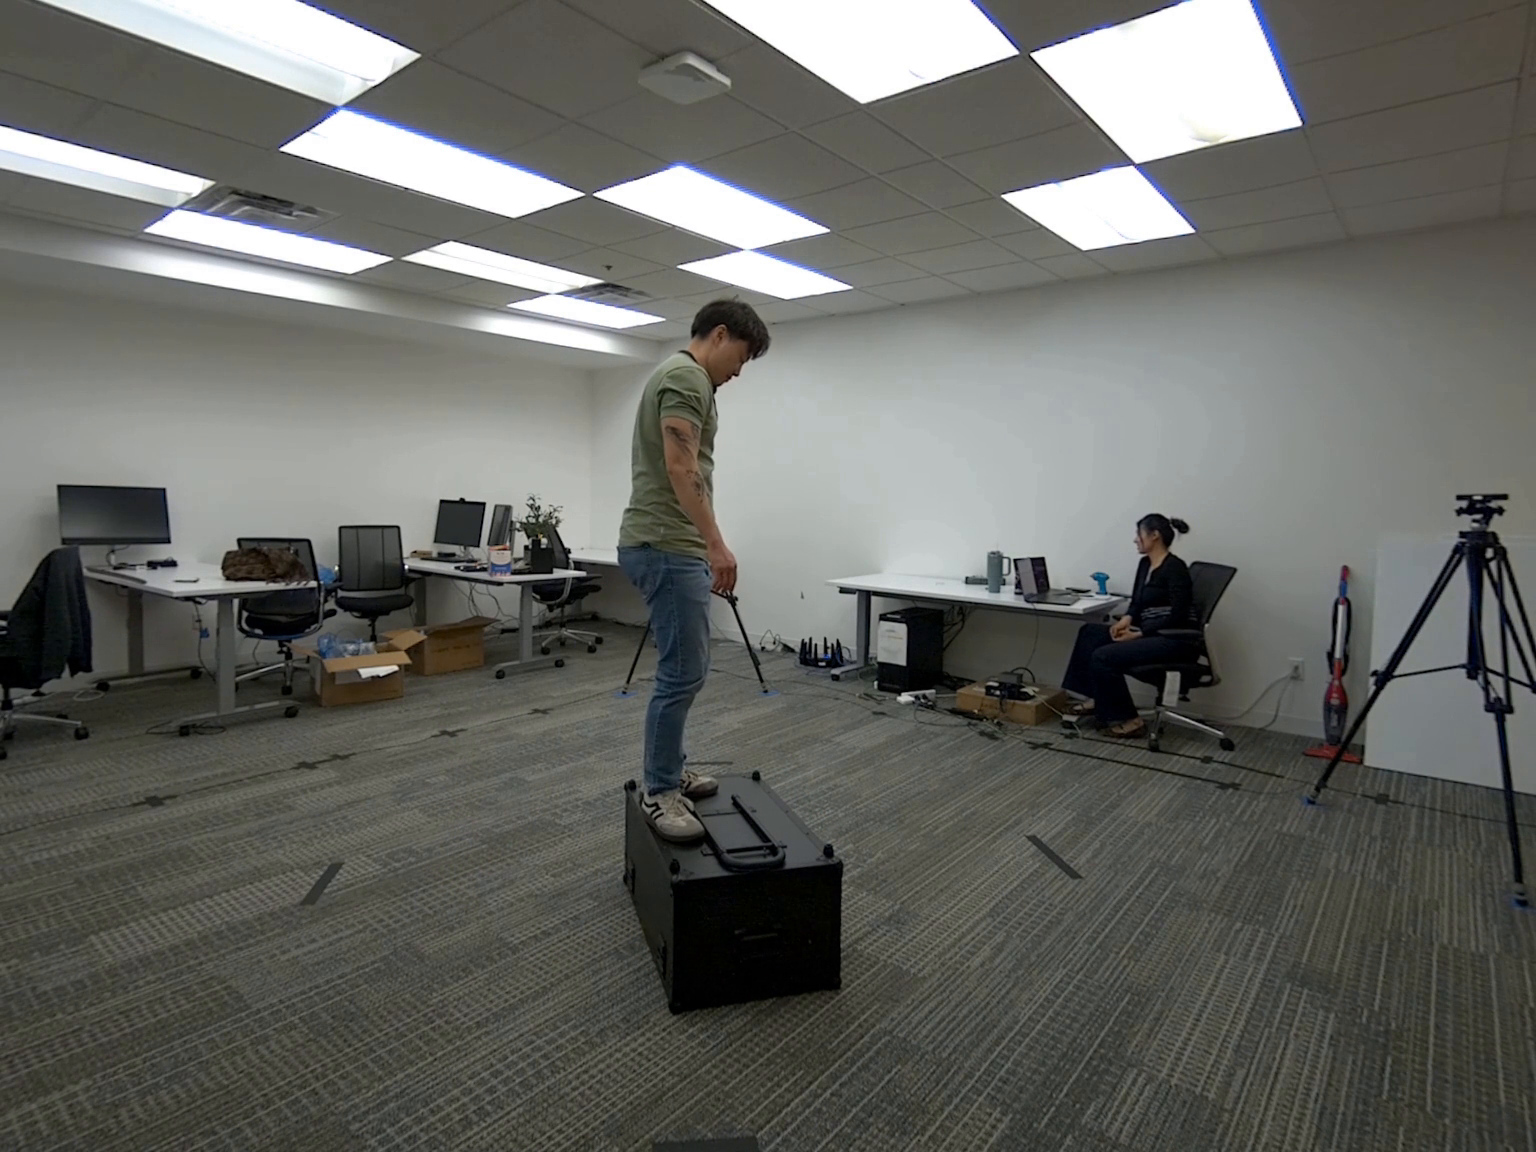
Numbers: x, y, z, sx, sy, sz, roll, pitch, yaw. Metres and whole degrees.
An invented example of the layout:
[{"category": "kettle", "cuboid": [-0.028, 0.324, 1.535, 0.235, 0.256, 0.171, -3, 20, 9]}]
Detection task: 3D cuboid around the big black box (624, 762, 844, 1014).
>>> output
[{"category": "big black box", "cuboid": [-0.171, 0.914, 2.695, 0.512, 0.395, 0.879, -1, 4, -19]}]
